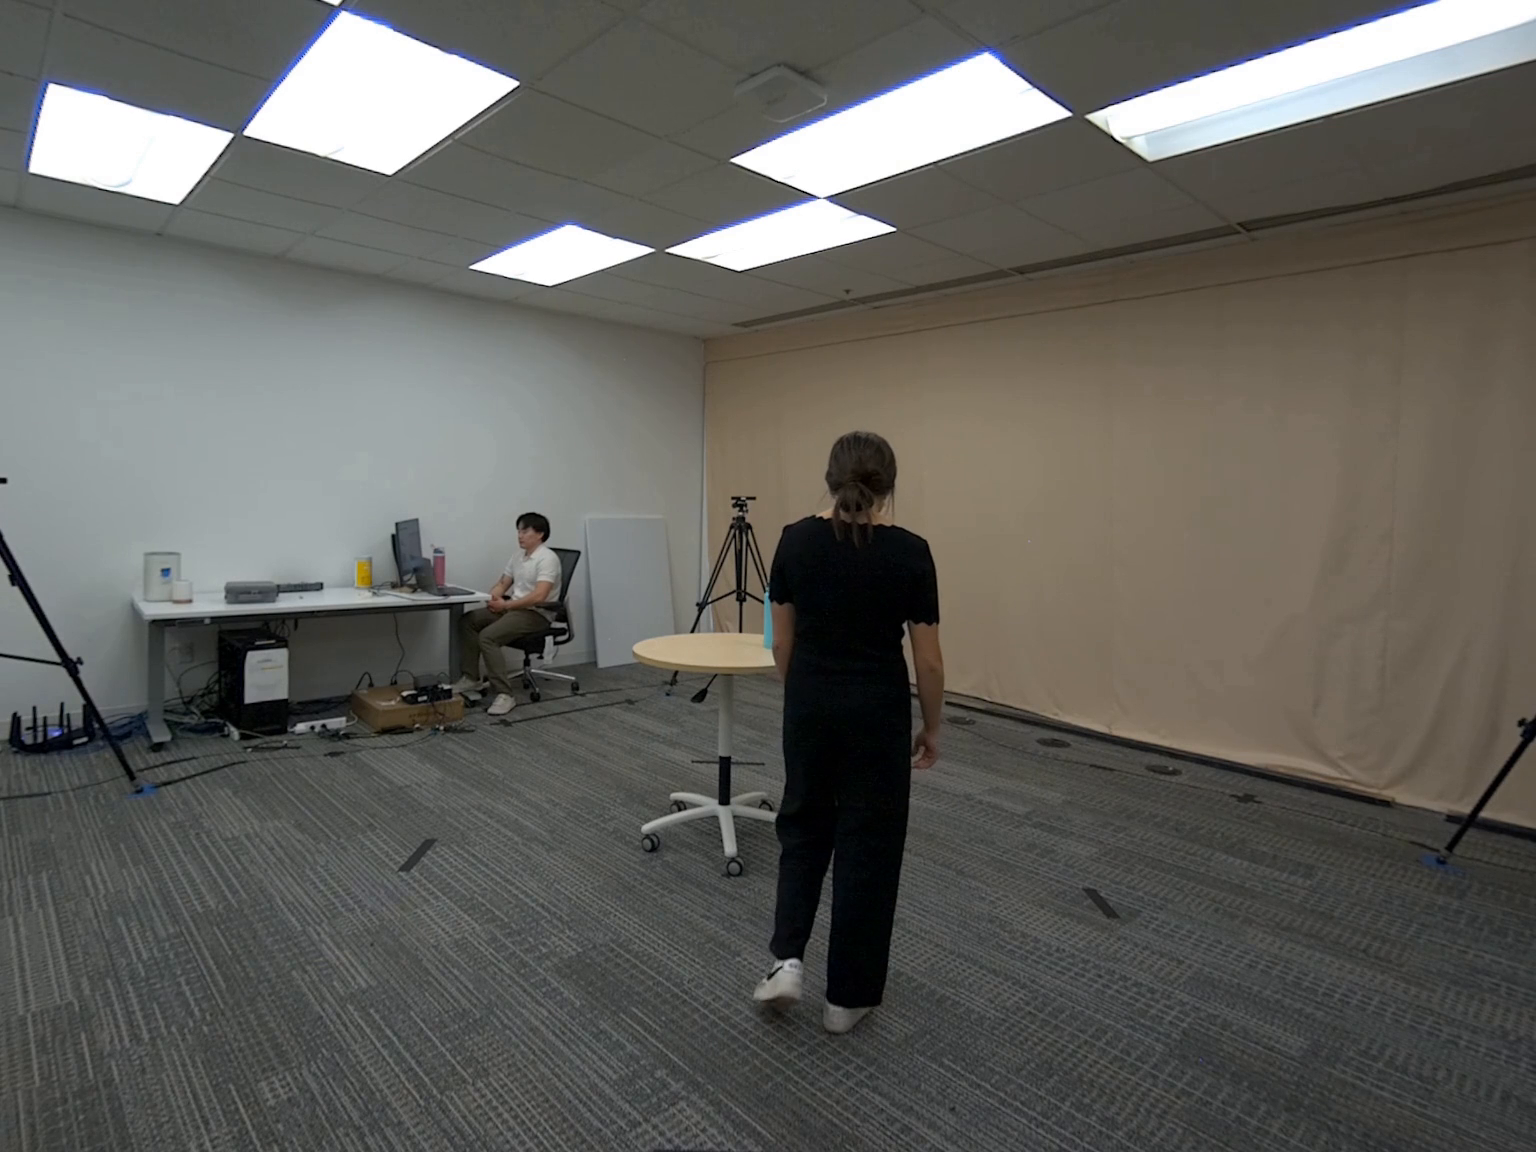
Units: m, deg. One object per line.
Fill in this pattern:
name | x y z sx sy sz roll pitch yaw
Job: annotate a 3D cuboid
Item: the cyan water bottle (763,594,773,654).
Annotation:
cyan water bottle | 0.030 0.155 3.452 0.092 0.283 0.092 4 3 -2
